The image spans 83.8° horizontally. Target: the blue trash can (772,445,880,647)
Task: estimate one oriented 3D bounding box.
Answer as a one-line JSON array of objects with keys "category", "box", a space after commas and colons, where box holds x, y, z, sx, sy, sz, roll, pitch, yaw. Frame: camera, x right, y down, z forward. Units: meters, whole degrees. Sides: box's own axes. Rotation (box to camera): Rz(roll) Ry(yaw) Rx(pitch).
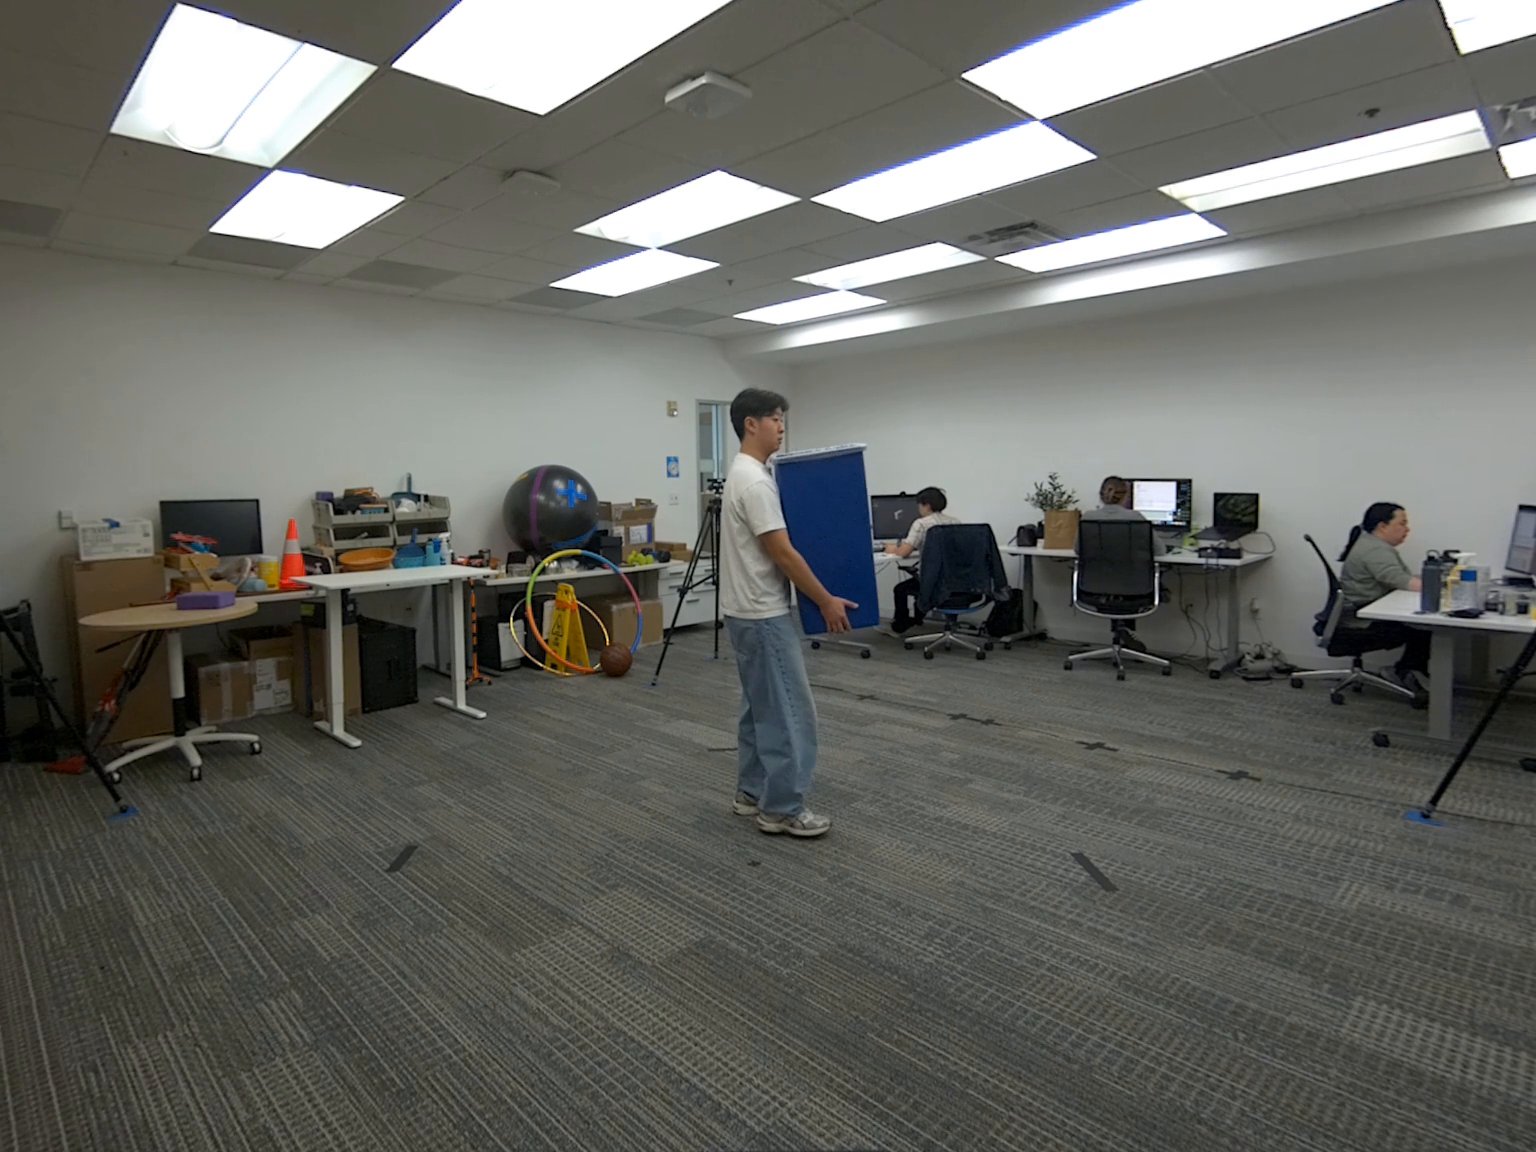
[{"category": "blue trash can", "box": [0.247, -0.161, 3.469, 0.379, 0.709, 0.375, -8, 6, 2]}]
